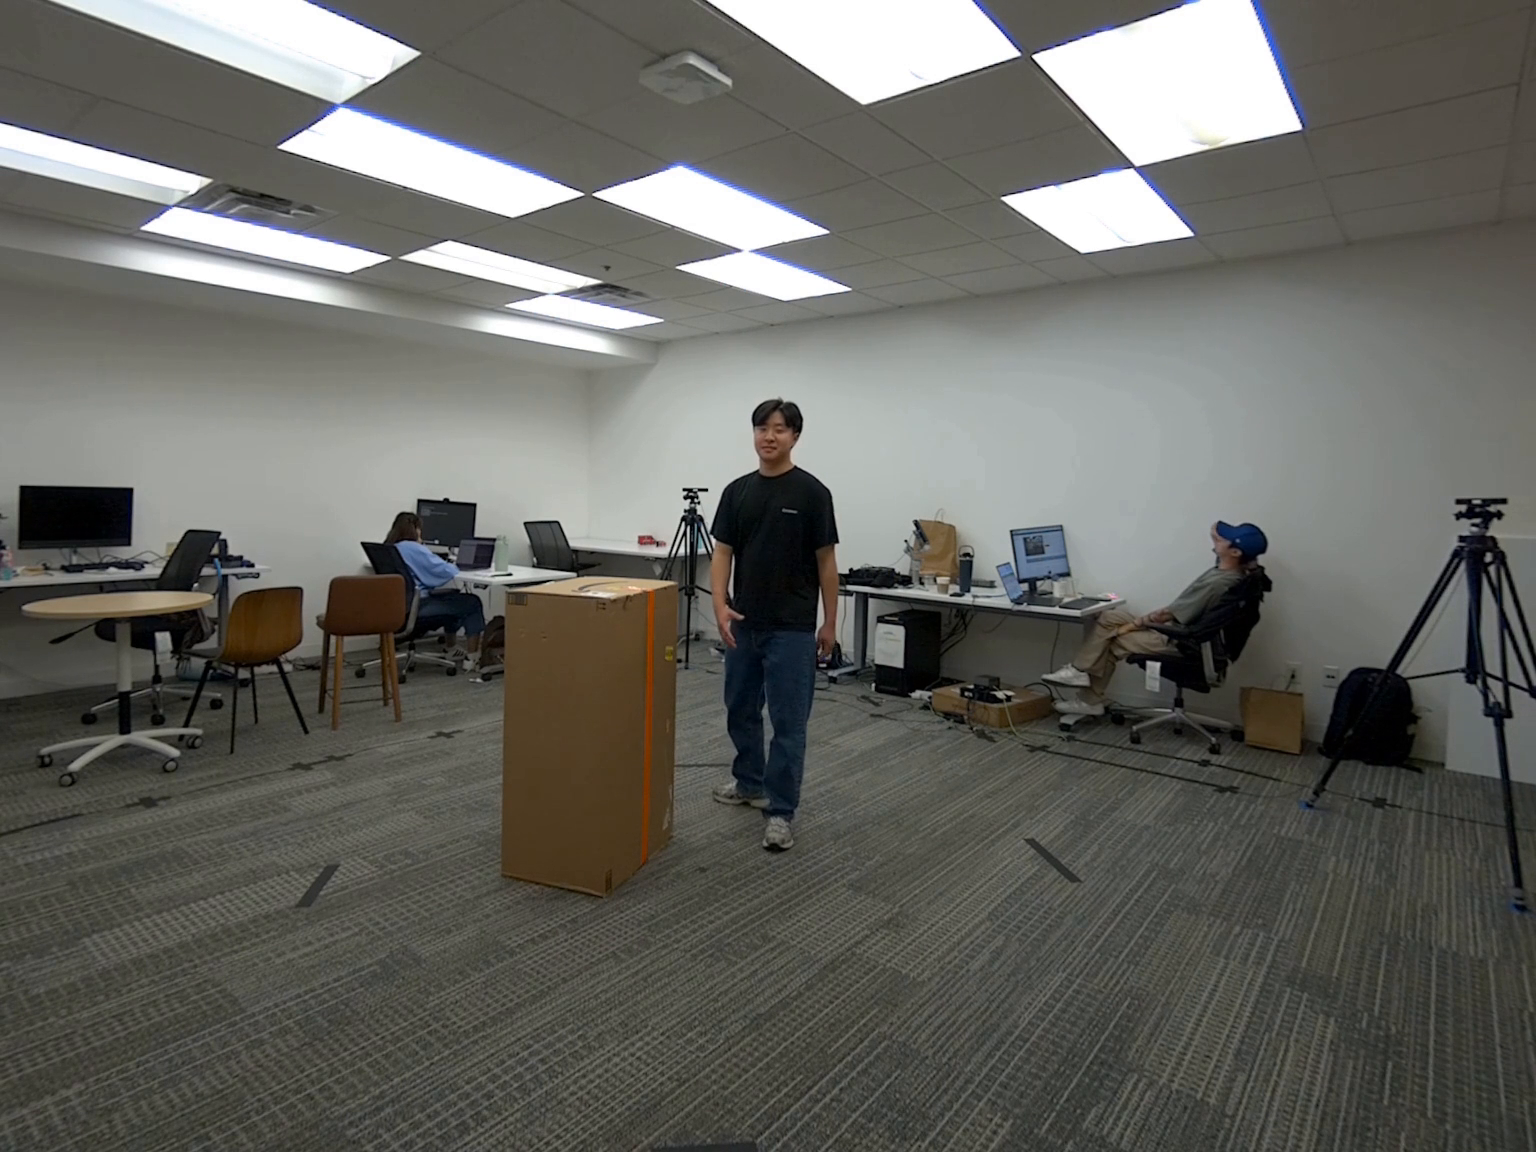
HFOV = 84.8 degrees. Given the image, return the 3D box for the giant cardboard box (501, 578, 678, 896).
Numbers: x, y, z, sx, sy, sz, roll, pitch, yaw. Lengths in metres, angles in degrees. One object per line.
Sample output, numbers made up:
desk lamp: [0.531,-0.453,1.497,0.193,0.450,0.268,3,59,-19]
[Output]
giant cardboard box: [-0.660,0.542,3.190,0.457,1.024,0.572,3,3,20]
